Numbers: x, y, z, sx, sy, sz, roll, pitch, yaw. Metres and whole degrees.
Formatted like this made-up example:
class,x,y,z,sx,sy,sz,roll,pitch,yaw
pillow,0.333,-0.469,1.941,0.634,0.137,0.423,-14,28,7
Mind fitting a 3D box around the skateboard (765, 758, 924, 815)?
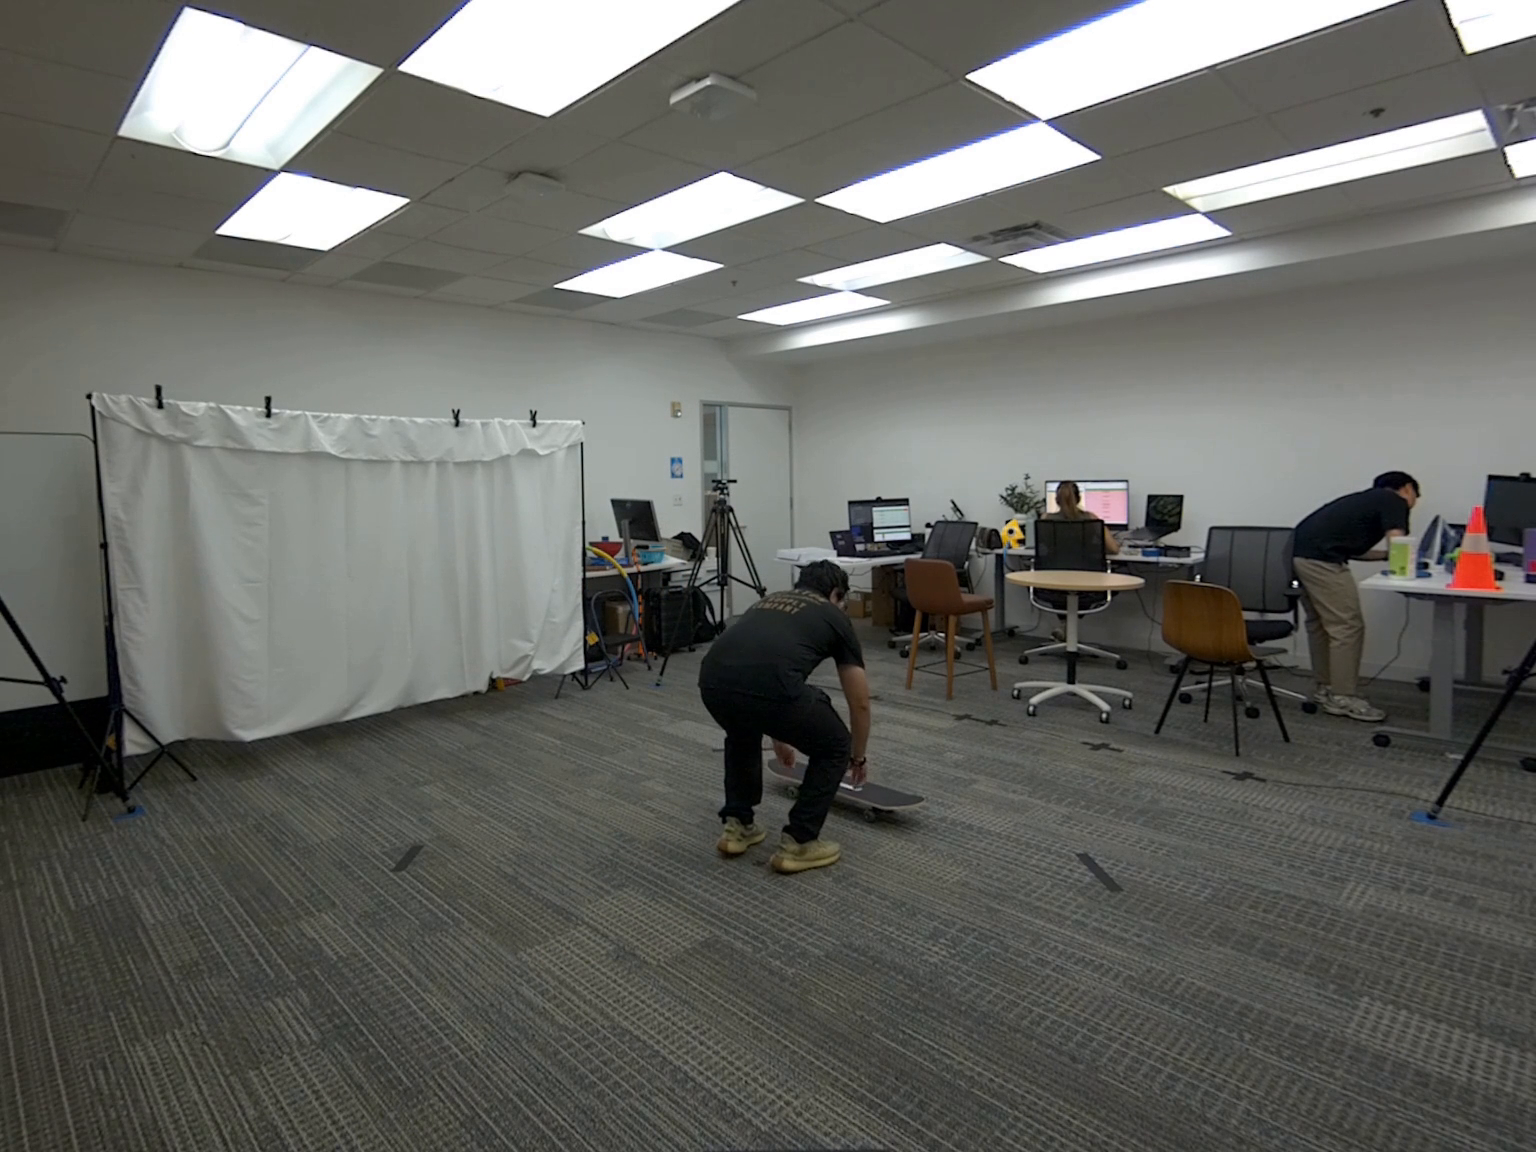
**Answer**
class,x,y,z,sx,sy,sz,roll,pitch,yaw
skateboard,0.313,0.926,3.665,0.810,0.110,0.188,6,8,42
